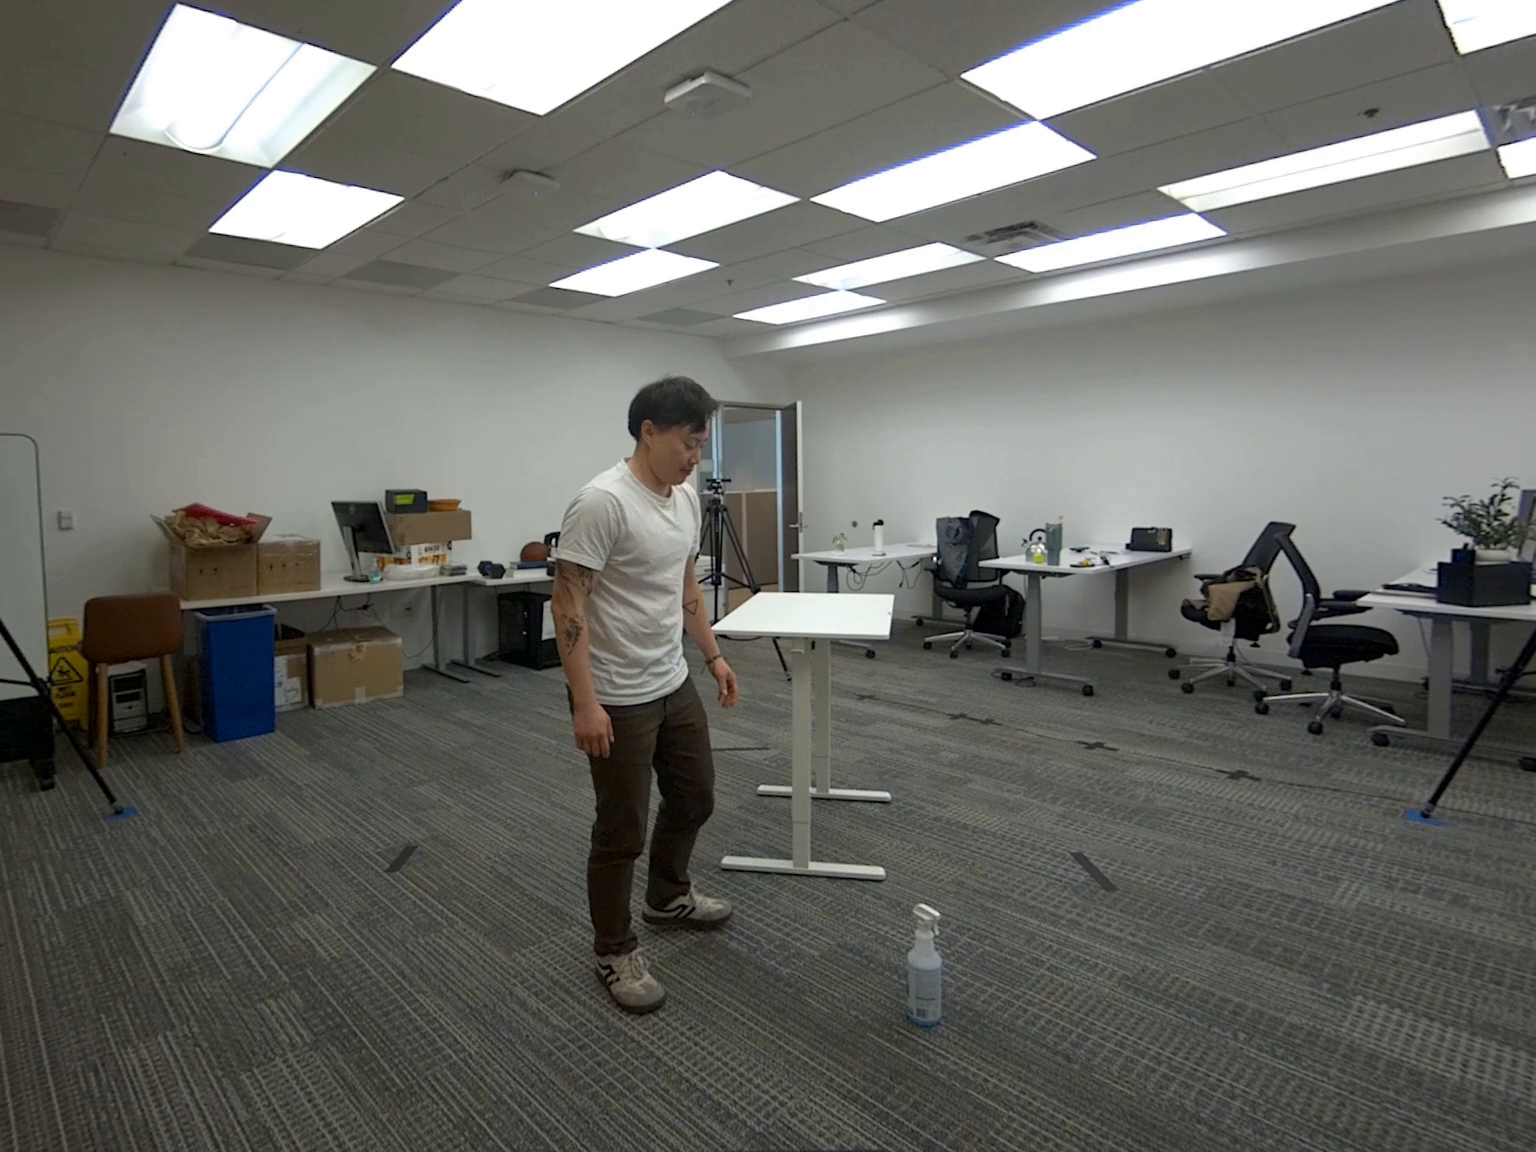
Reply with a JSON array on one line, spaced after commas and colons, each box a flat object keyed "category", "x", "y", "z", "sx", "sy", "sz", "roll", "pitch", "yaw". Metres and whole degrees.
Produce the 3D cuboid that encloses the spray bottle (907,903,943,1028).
[{"category": "spray bottle", "x": 0.405, "y": 0.995, "z": 2.199, "sx": 0.087, "sy": 0.296, "sz": 0.091, "roll": -1, "pitch": 5, "yaw": -5}]
